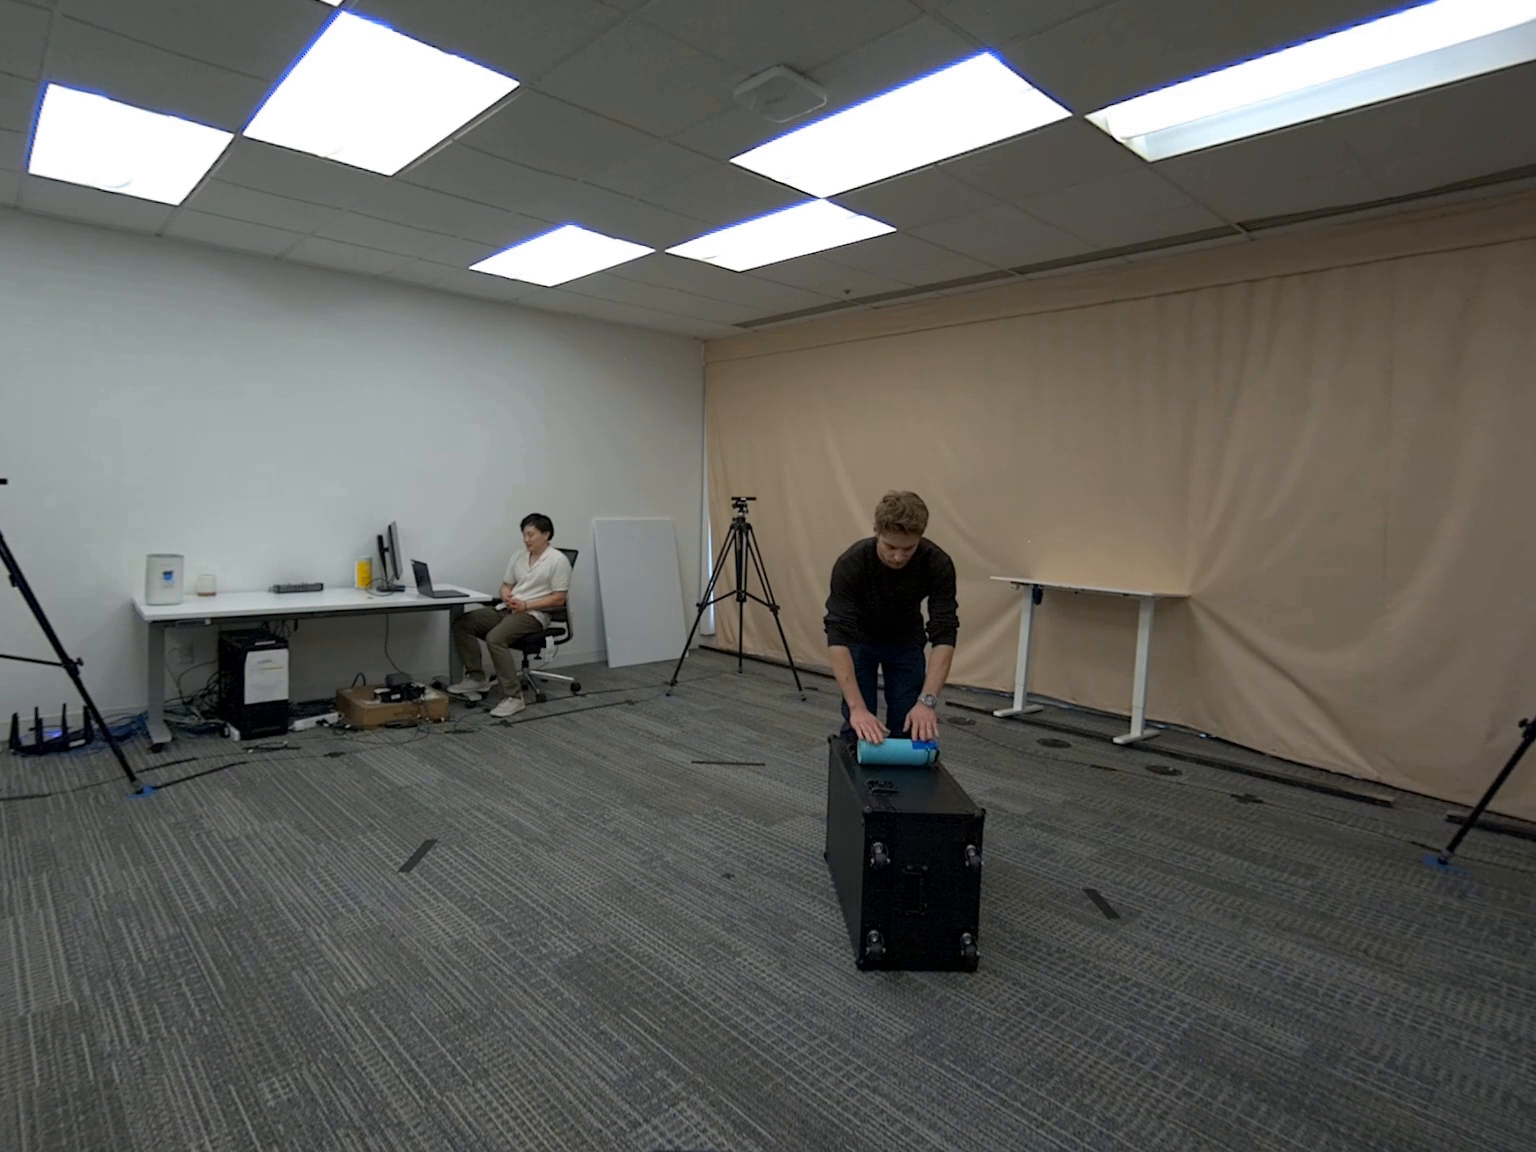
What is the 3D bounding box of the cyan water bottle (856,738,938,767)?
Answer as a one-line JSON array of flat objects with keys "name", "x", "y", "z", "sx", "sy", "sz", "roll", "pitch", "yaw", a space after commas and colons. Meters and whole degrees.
[{"name": "cyan water bottle", "x": 0.453, "y": 0.617, "z": 2.913, "sx": 0.284, "sy": 0.092, "sz": 0.092, "roll": 2, "pitch": 4, "yaw": 3}]
